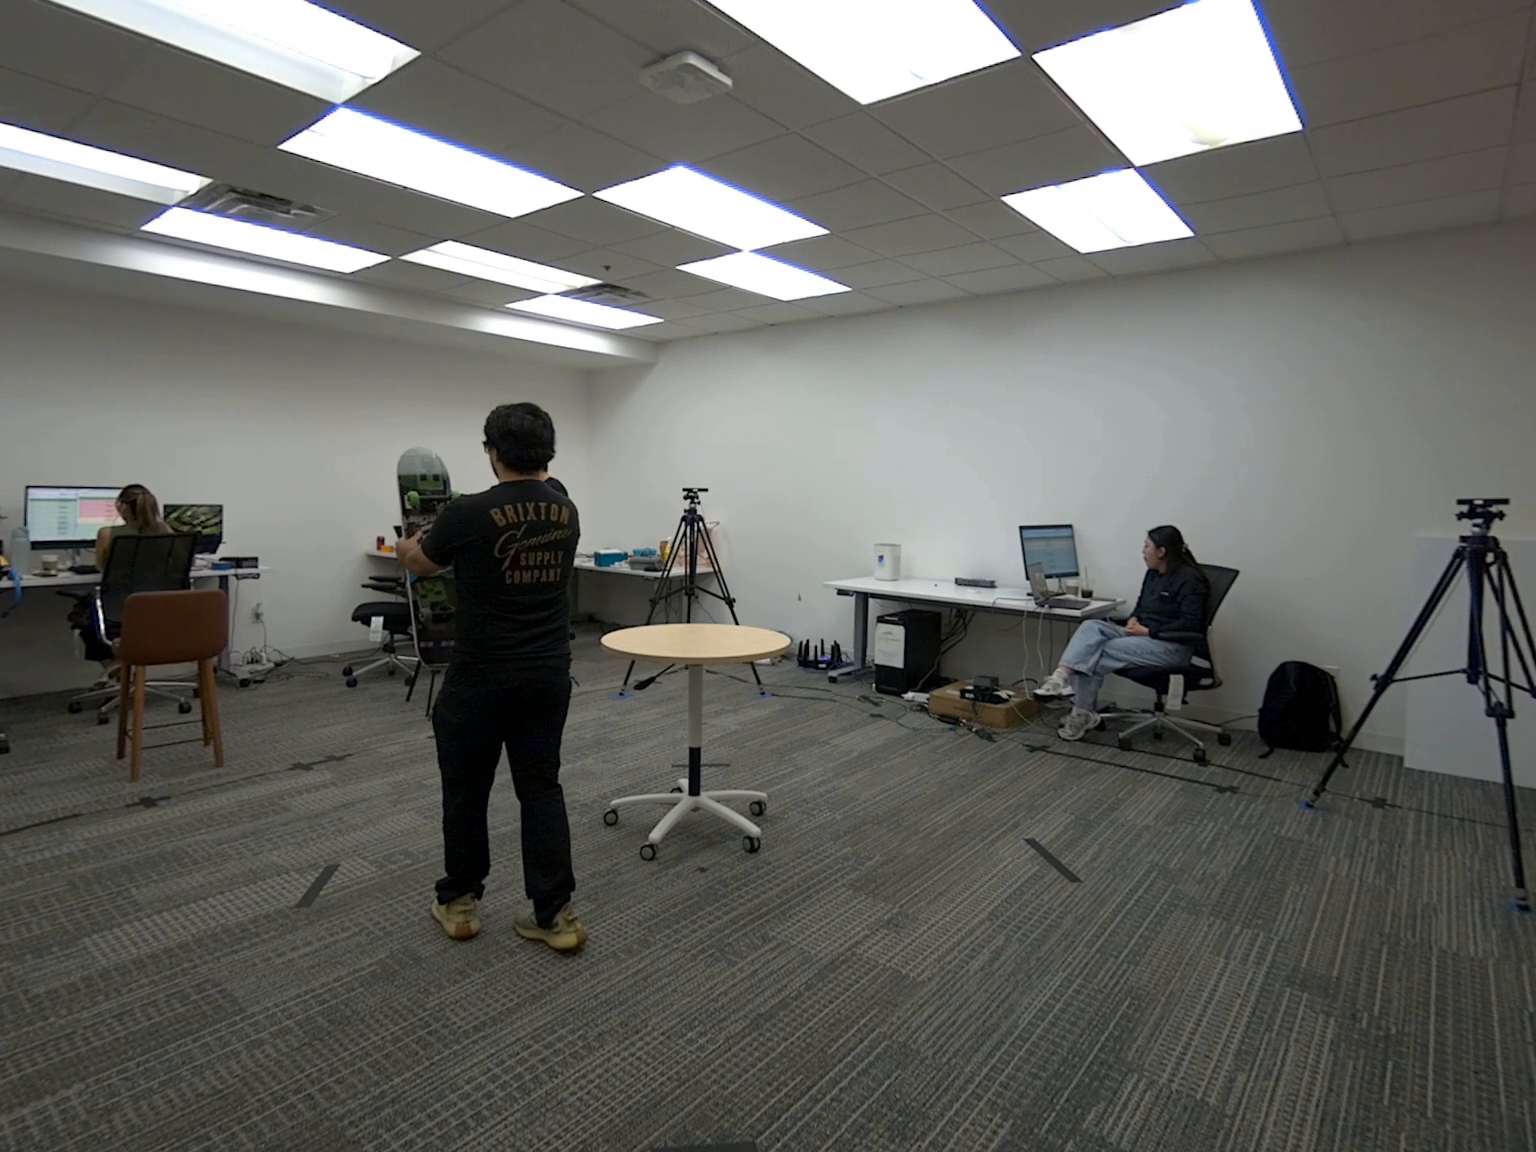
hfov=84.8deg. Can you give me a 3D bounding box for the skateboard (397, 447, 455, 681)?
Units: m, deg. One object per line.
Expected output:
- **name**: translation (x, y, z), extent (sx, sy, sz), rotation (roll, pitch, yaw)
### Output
- **skateboard**: translation (-1.165, -0.070, 2.959), extent (0.113, 0.787, 0.188), rotation (-10, -3, 44)
